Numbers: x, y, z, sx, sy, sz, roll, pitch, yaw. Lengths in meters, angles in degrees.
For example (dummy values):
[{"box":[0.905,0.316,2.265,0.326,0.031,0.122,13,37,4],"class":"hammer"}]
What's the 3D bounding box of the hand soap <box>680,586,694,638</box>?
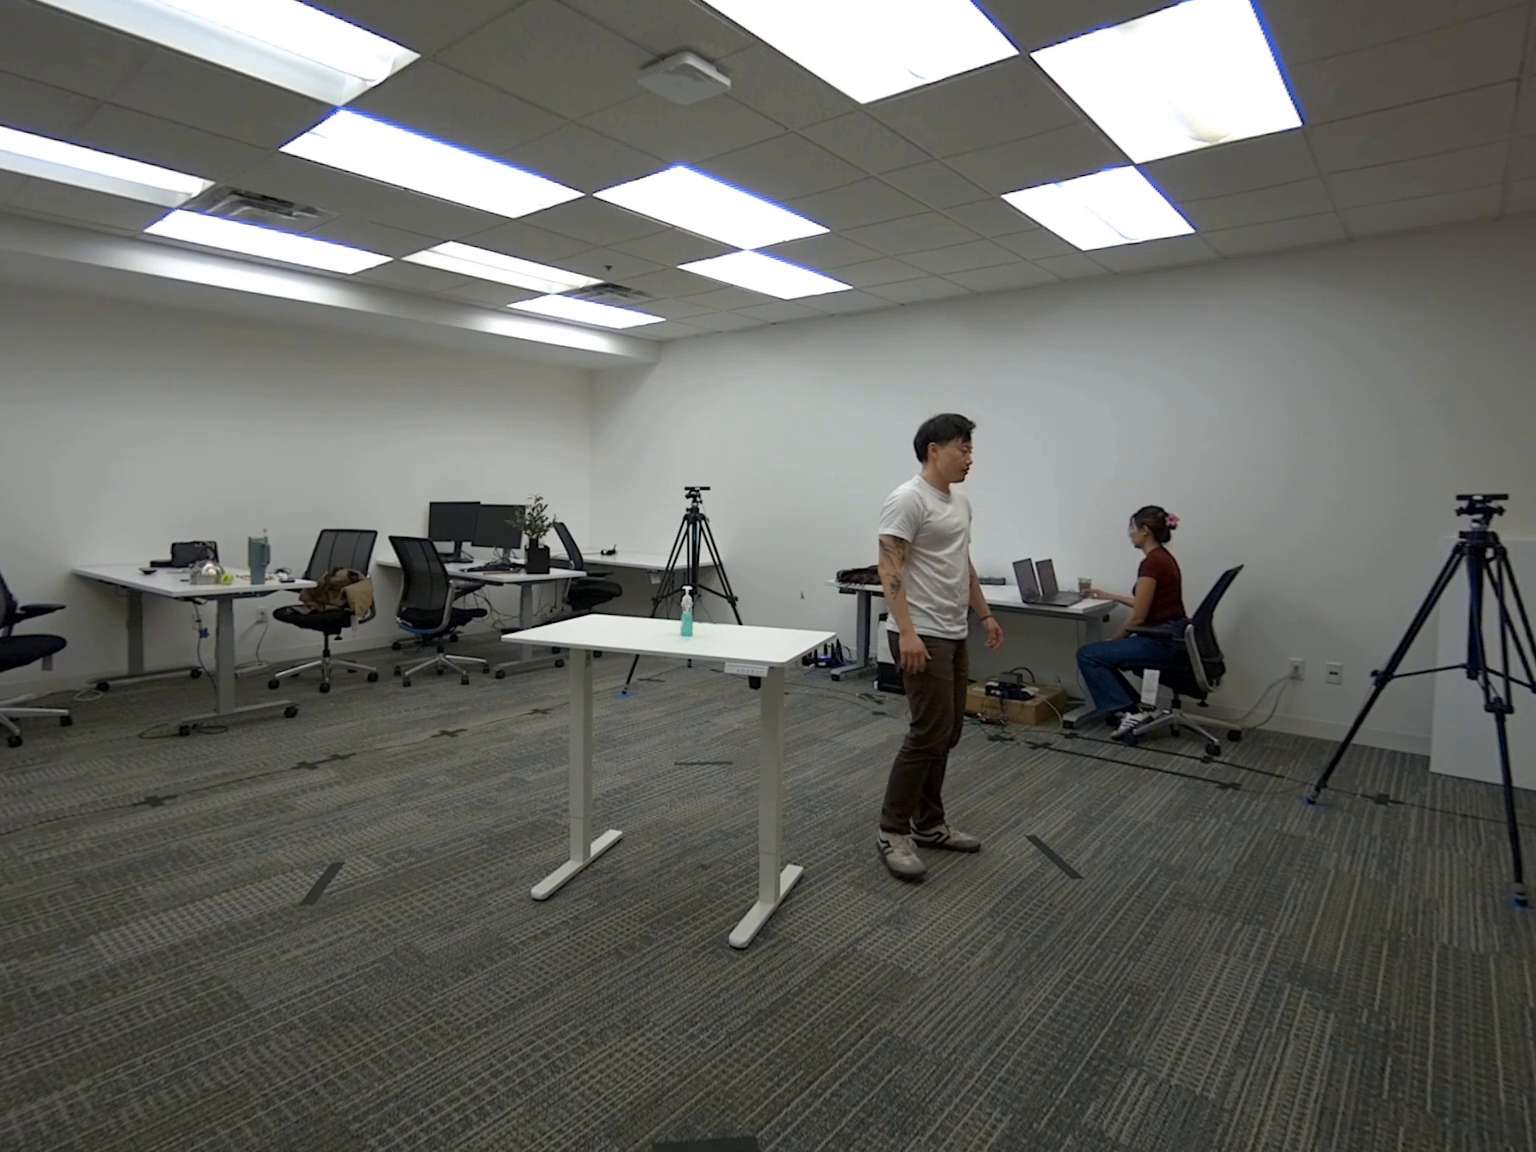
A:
[{"box":[-0.293,0.121,2.922,0.043,0.167,0.086,-3,5,-12],"class":"hand soap"}]
